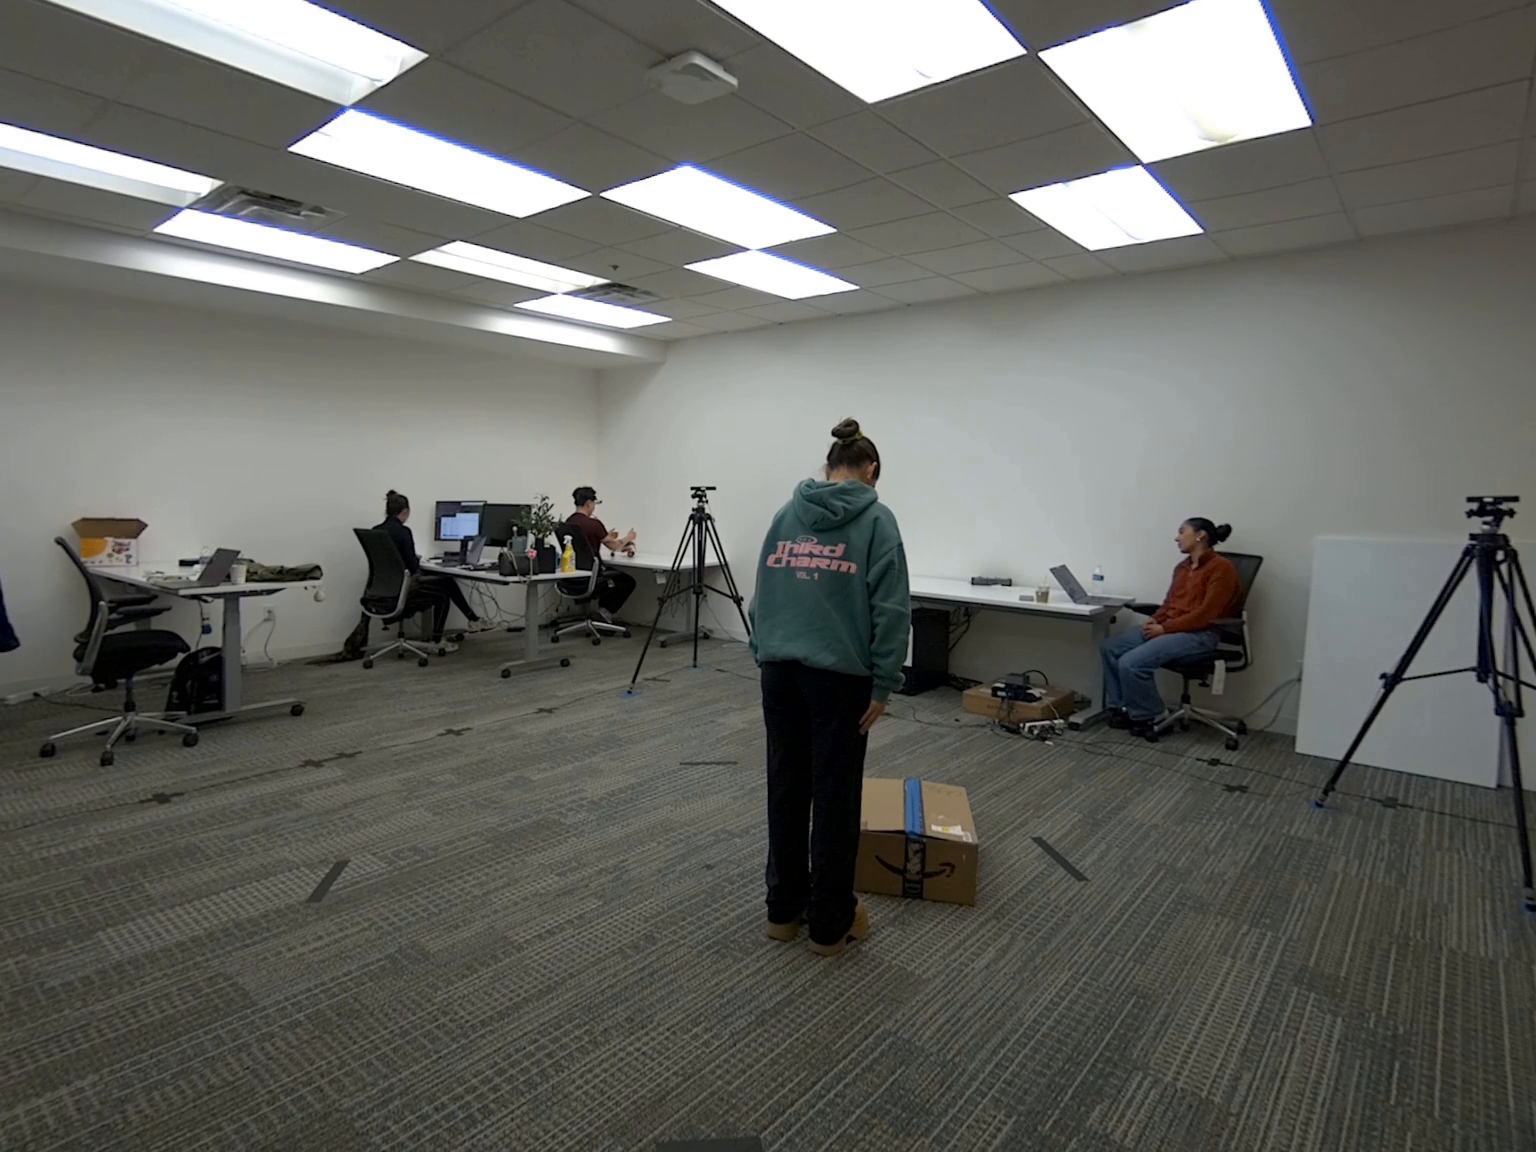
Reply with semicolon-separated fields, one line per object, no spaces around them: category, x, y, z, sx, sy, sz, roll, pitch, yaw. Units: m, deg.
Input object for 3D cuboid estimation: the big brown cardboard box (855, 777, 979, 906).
big brown cardboard box;0.530;0.957;3.170;0.423;0.232;0.584;2;5;10
